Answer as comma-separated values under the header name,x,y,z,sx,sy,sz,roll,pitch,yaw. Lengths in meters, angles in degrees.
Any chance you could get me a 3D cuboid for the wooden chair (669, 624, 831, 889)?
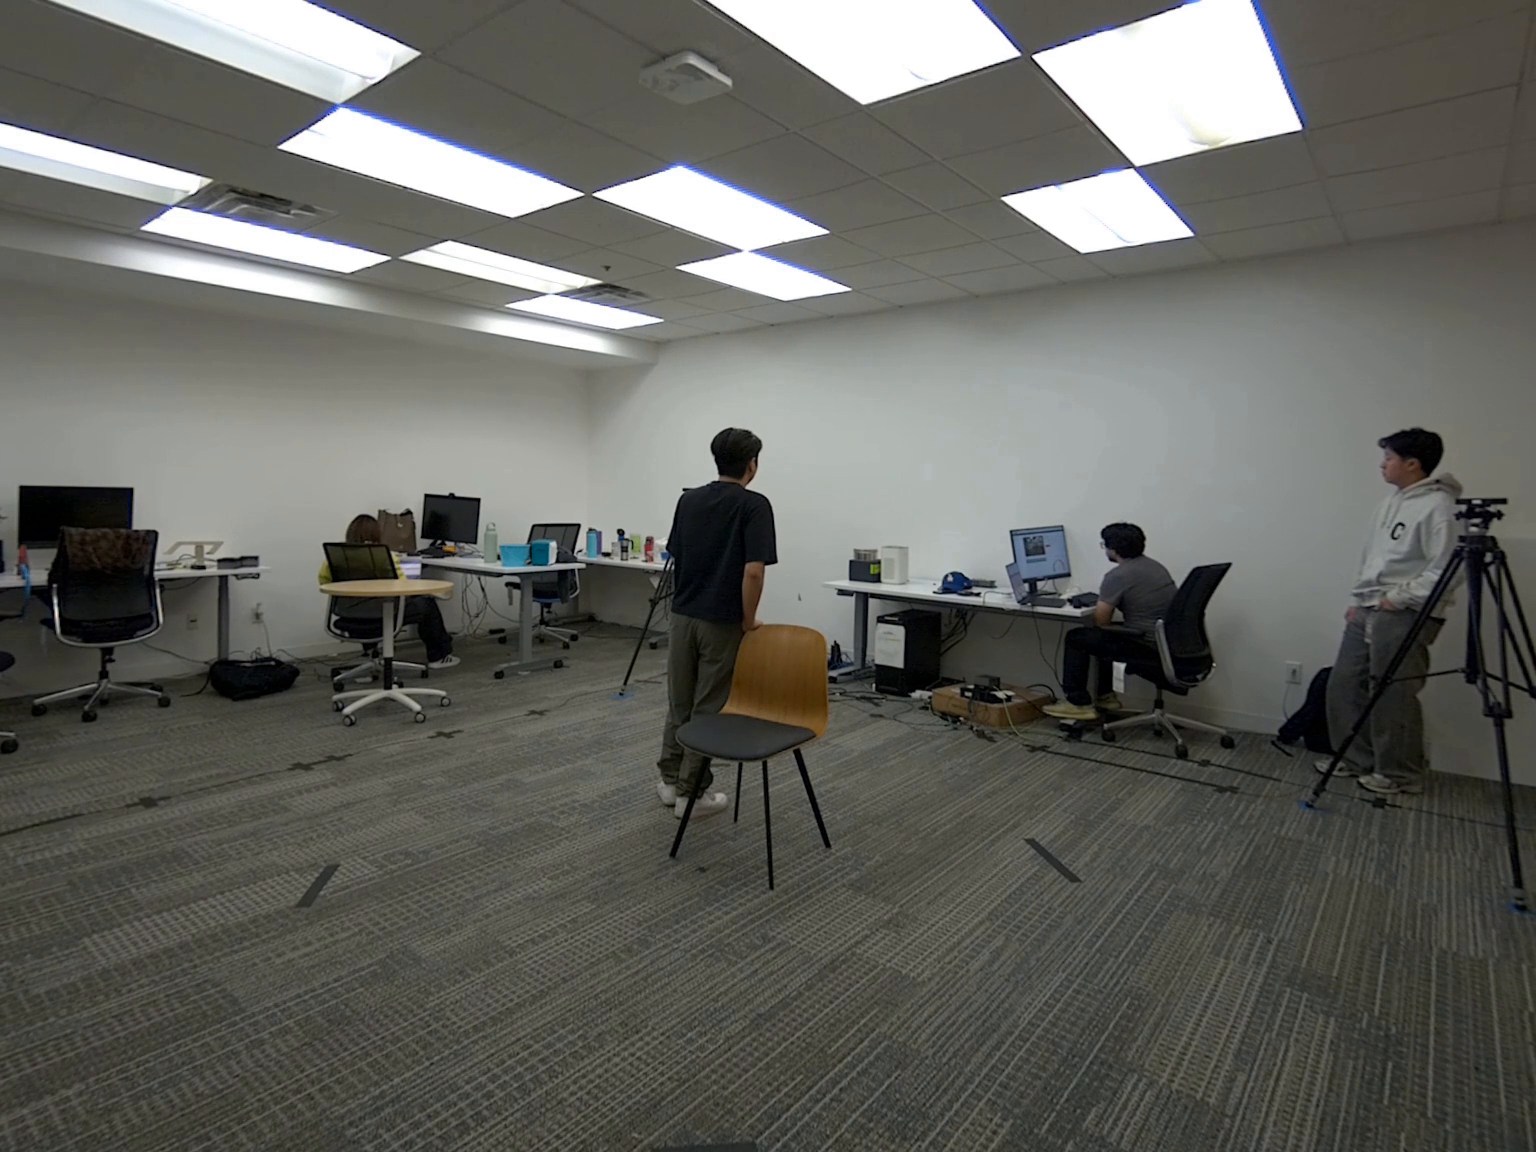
name,x,y,z,sx,sy,sz,roll,pitch,yaw
wooden chair,-0.060,0.635,3.227,0.493,0.878,0.507,4,0,33
